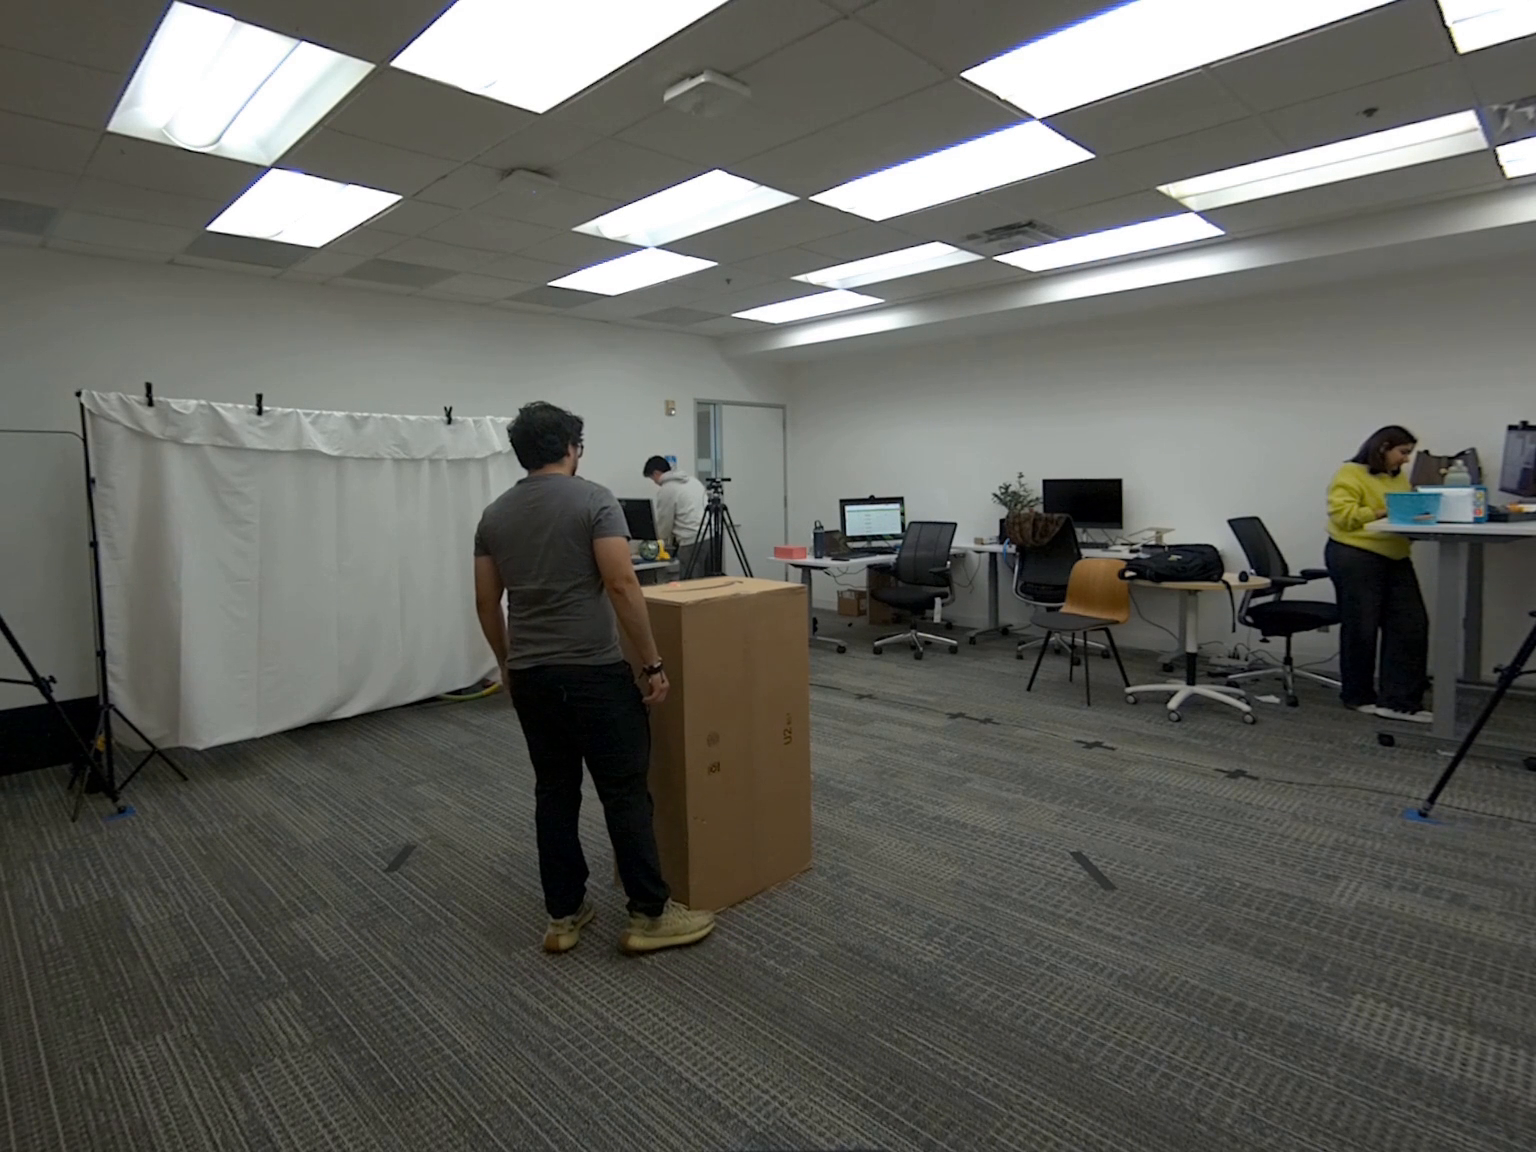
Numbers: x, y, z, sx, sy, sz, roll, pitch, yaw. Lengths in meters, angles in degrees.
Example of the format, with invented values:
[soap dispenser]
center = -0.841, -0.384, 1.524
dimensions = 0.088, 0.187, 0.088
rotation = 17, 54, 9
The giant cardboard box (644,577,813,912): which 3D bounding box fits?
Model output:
[giant cardboard box]
center = -0.198, 0.551, 2.993
dimensions = 0.568, 1.023, 0.461
rotation = -5, 6, -44
